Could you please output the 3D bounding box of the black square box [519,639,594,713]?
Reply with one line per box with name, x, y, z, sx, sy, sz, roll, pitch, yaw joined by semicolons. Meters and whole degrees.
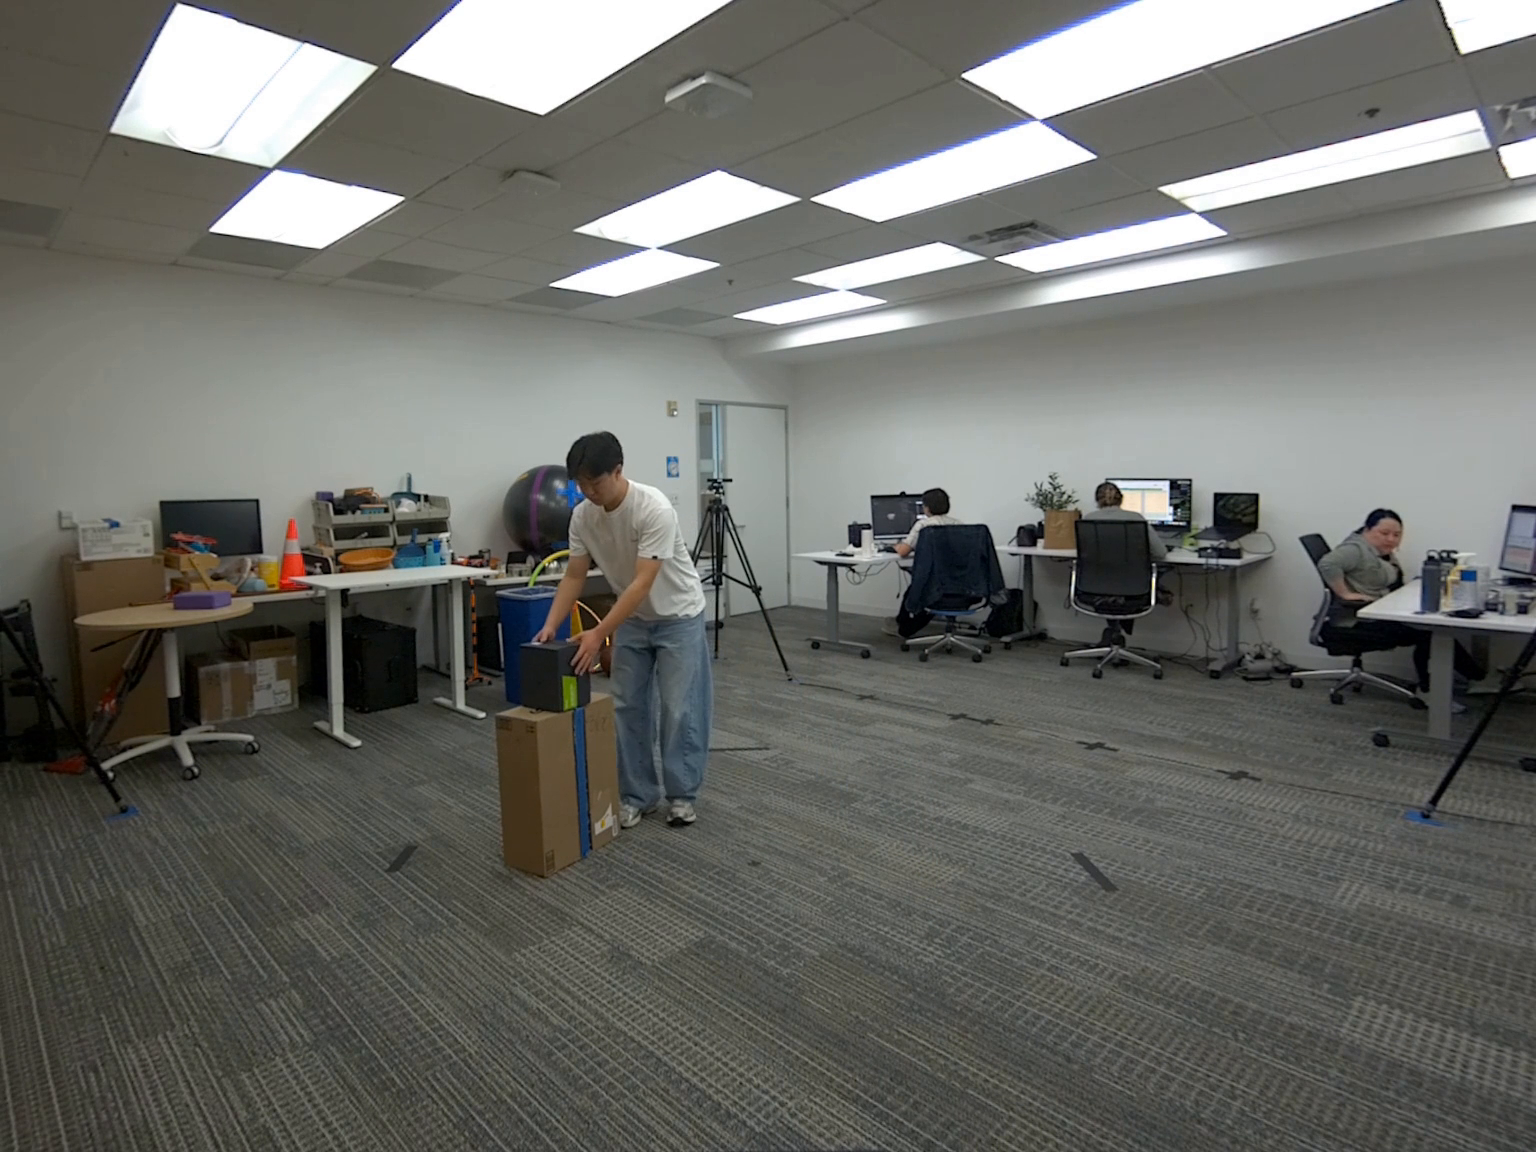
black square box;-0.790;0.367;3.192;0.223;0.227;0.152;0;3;36
